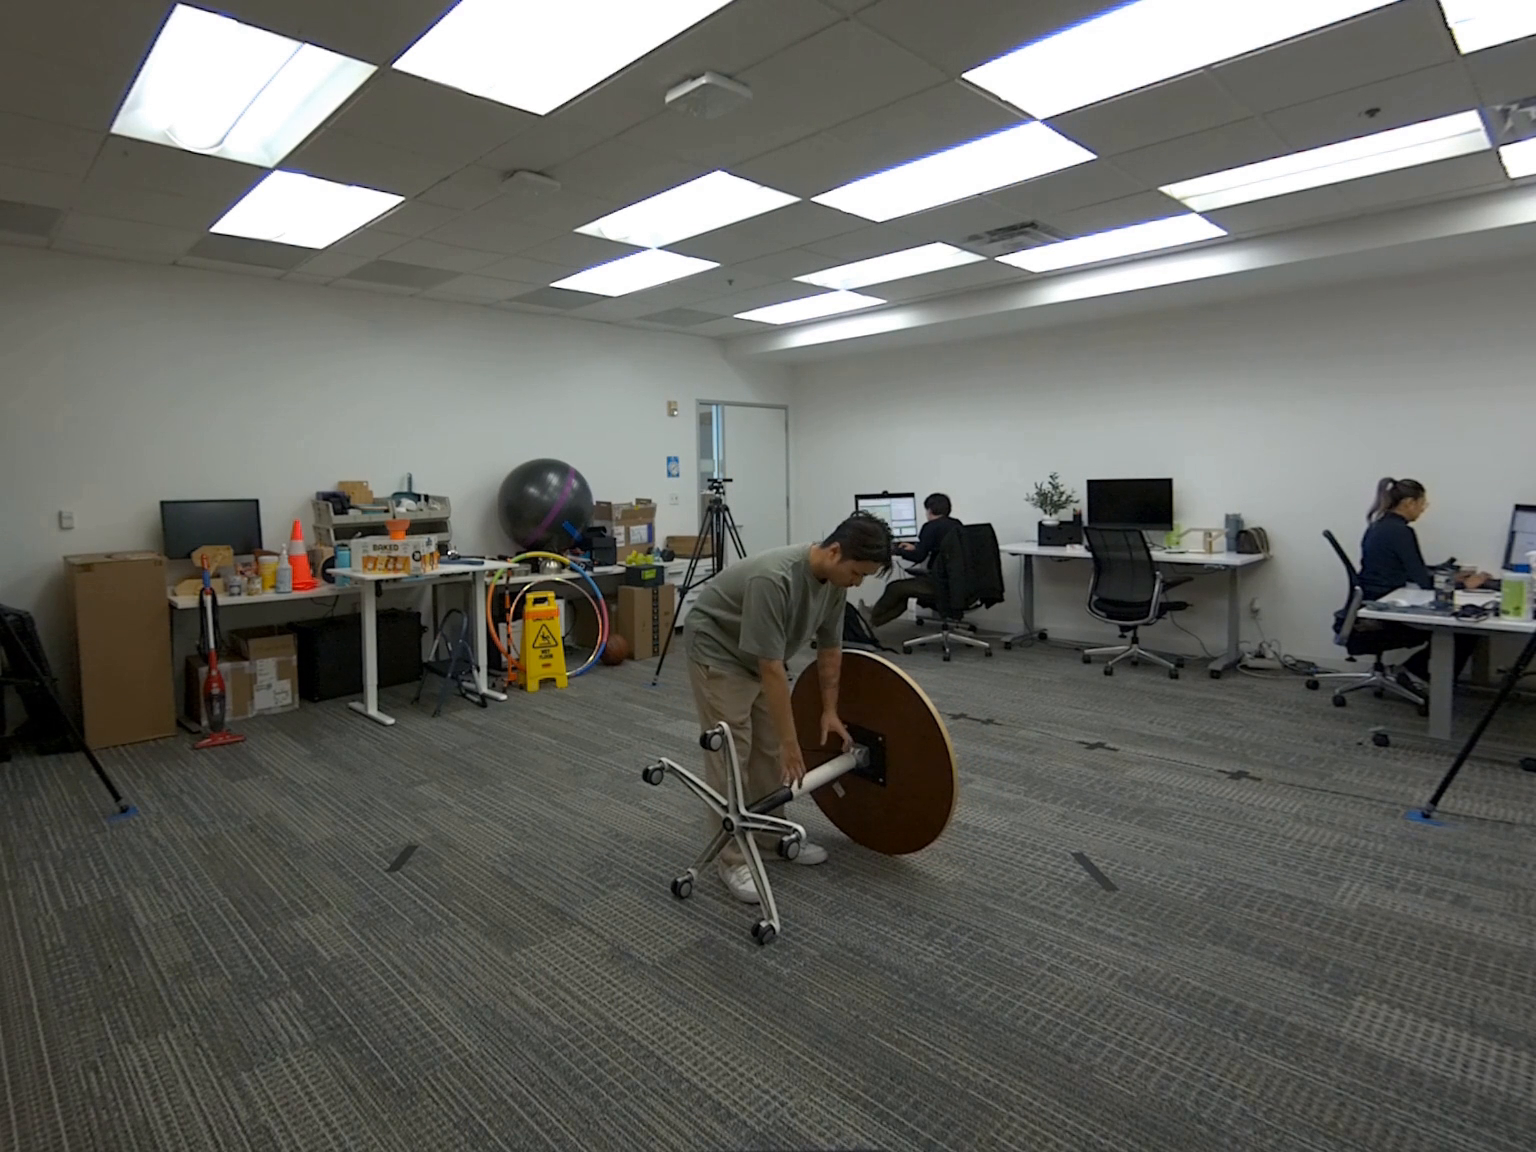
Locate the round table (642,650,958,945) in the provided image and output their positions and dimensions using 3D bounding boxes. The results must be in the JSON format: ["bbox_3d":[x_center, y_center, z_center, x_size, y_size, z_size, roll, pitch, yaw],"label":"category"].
[{"bbox_3d":[0.101,0.731,2.903,0.770,0.778,0.809,-15,13,-42],"label":"round table"}]
